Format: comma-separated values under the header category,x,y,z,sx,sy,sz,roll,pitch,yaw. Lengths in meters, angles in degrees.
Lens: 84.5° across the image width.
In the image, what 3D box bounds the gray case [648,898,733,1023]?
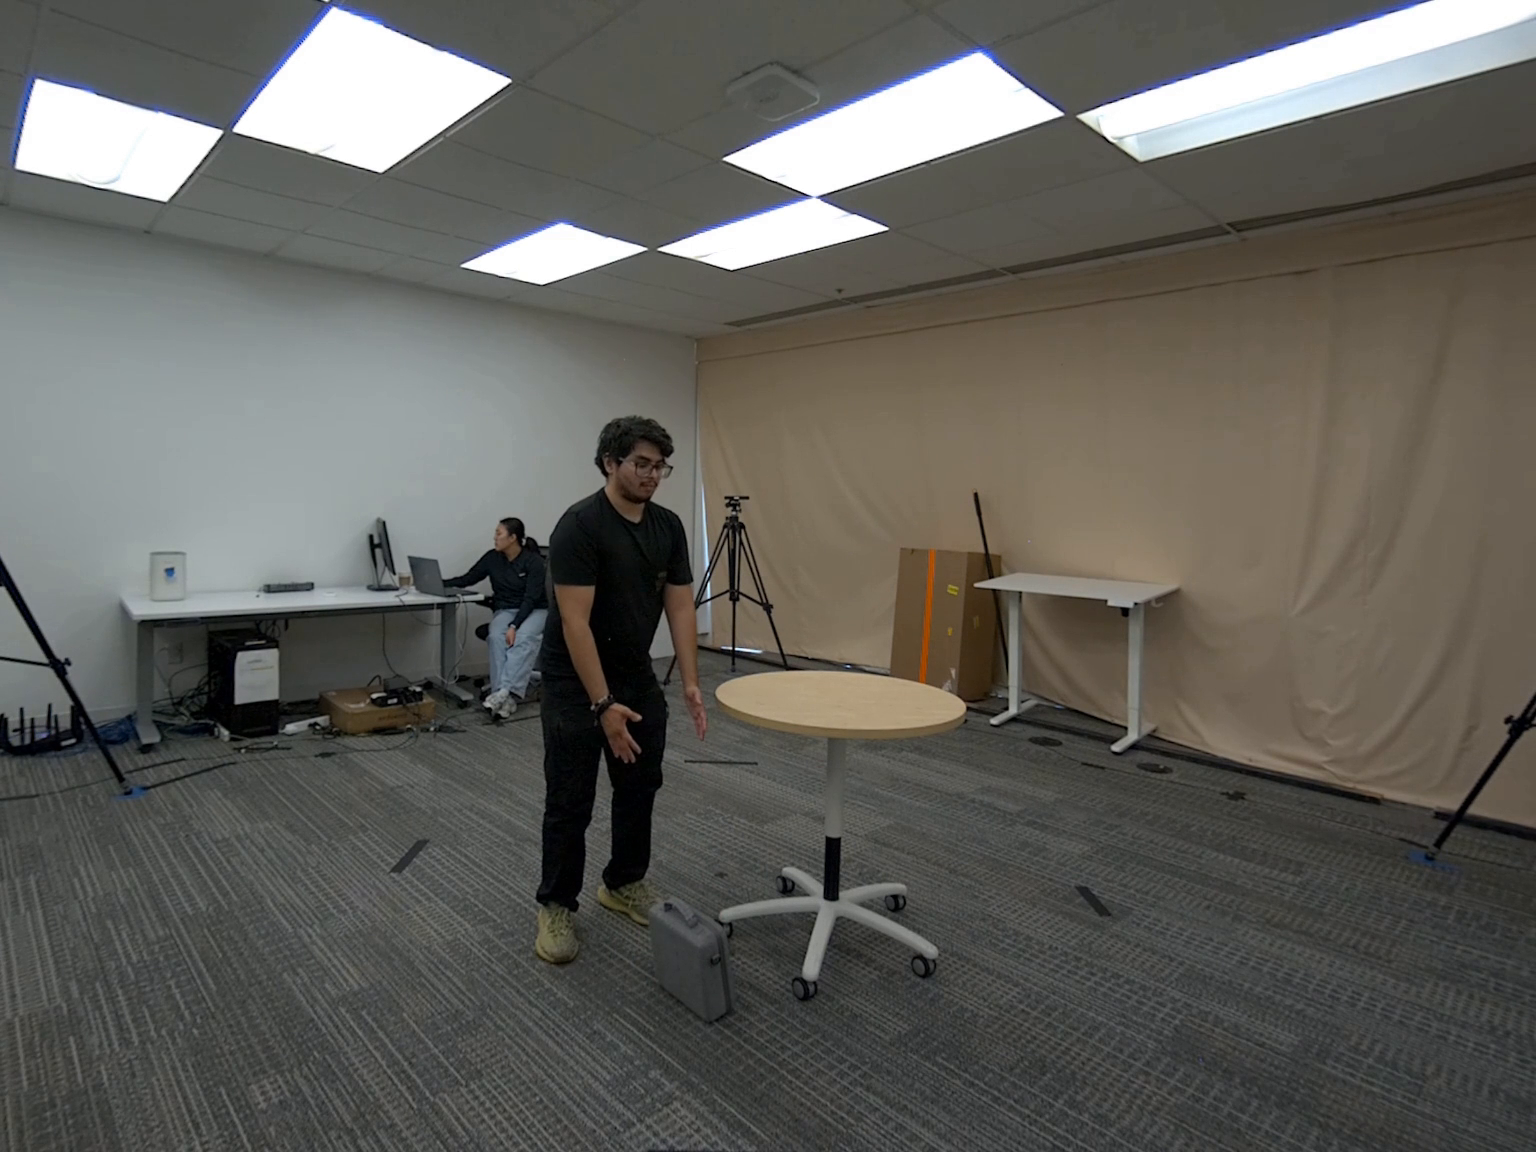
category,x,y,z,sx,sy,sz,roll,pitch,yaw
gray case,-0.221,1.046,2.304,0.102,0.258,0.264,-15,15,-39
